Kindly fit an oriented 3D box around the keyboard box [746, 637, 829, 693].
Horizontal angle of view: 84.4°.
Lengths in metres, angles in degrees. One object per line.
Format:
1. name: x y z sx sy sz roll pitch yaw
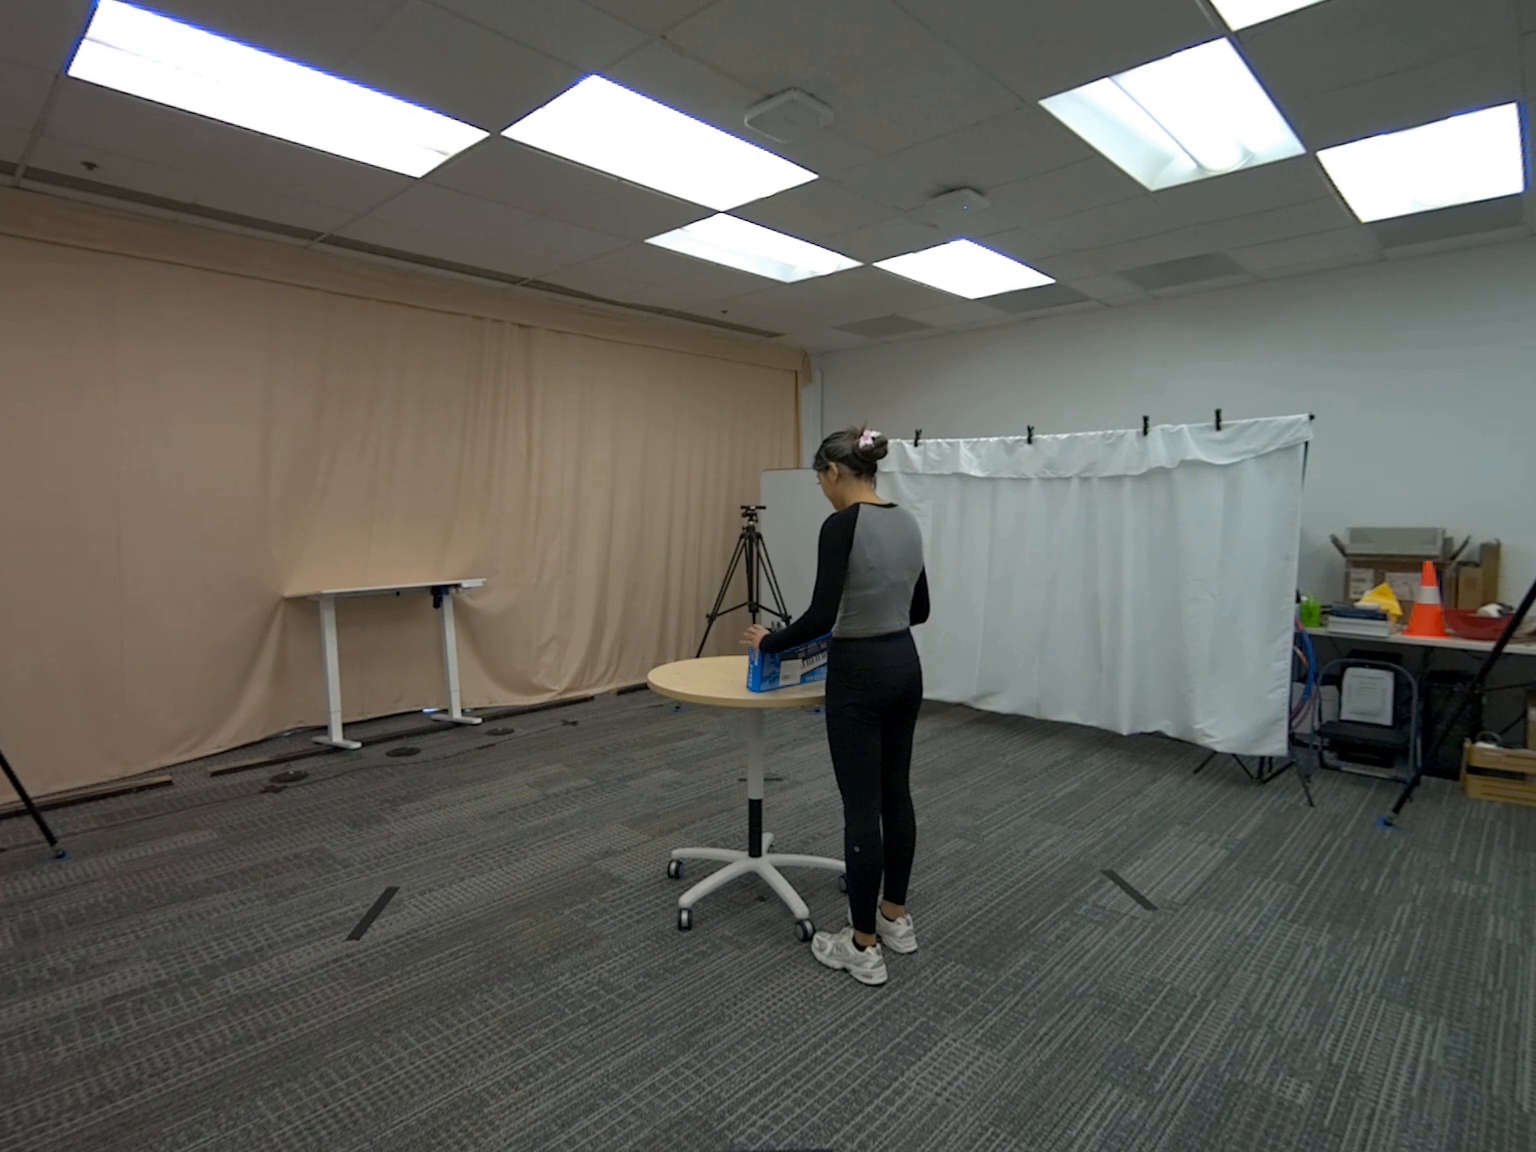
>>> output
1. keyboard box: 0.108 0.277 2.840 0.423 0.175 0.061 -4 12 -44
